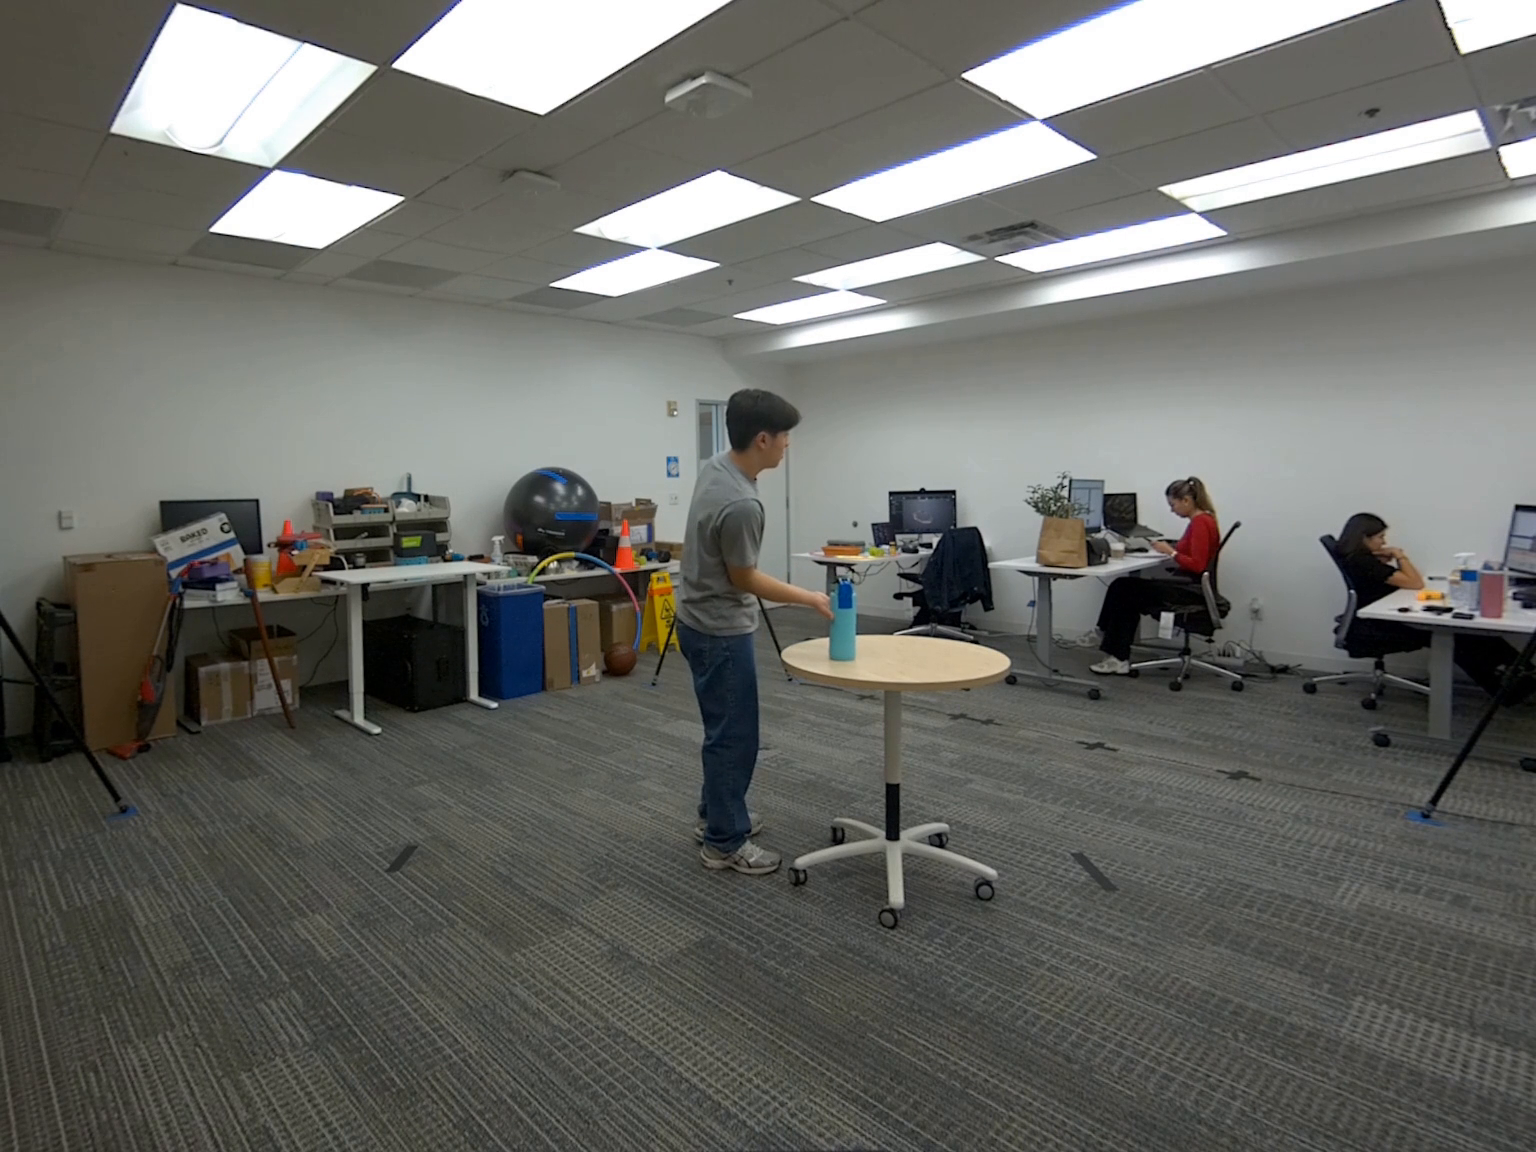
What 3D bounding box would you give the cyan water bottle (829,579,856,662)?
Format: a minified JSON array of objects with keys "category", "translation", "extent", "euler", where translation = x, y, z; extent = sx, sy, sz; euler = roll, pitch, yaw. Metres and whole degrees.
[{"category":"cyan water bottle","translation":[0.259,0.141,2.878],"extent":[0.092,0.282,0.093],"euler":[0,6,-2]}]
